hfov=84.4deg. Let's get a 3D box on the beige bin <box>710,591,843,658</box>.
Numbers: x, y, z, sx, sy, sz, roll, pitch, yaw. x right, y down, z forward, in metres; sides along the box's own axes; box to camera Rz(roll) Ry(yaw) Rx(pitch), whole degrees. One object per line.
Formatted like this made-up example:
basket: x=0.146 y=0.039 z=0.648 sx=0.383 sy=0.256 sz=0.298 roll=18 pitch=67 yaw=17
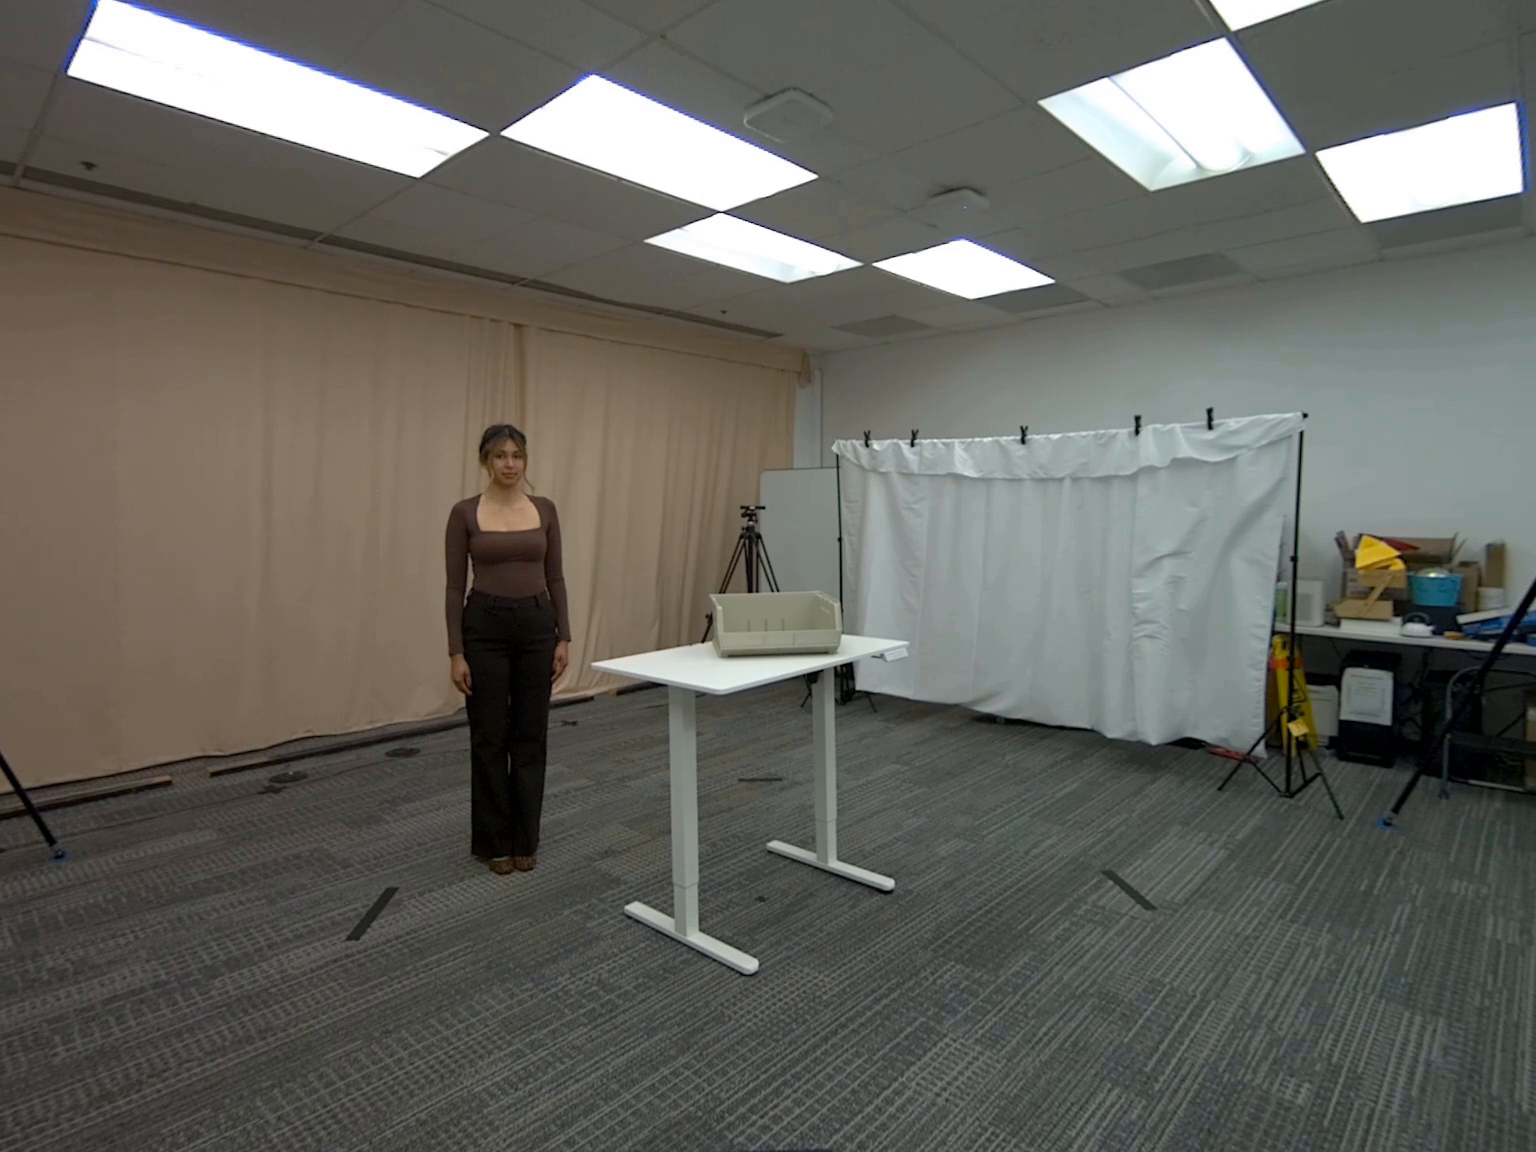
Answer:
beige bin: x=0.016 y=0.177 z=2.979 sx=0.420 sy=0.188 sz=0.380 roll=-3 pitch=4 yaw=-6
